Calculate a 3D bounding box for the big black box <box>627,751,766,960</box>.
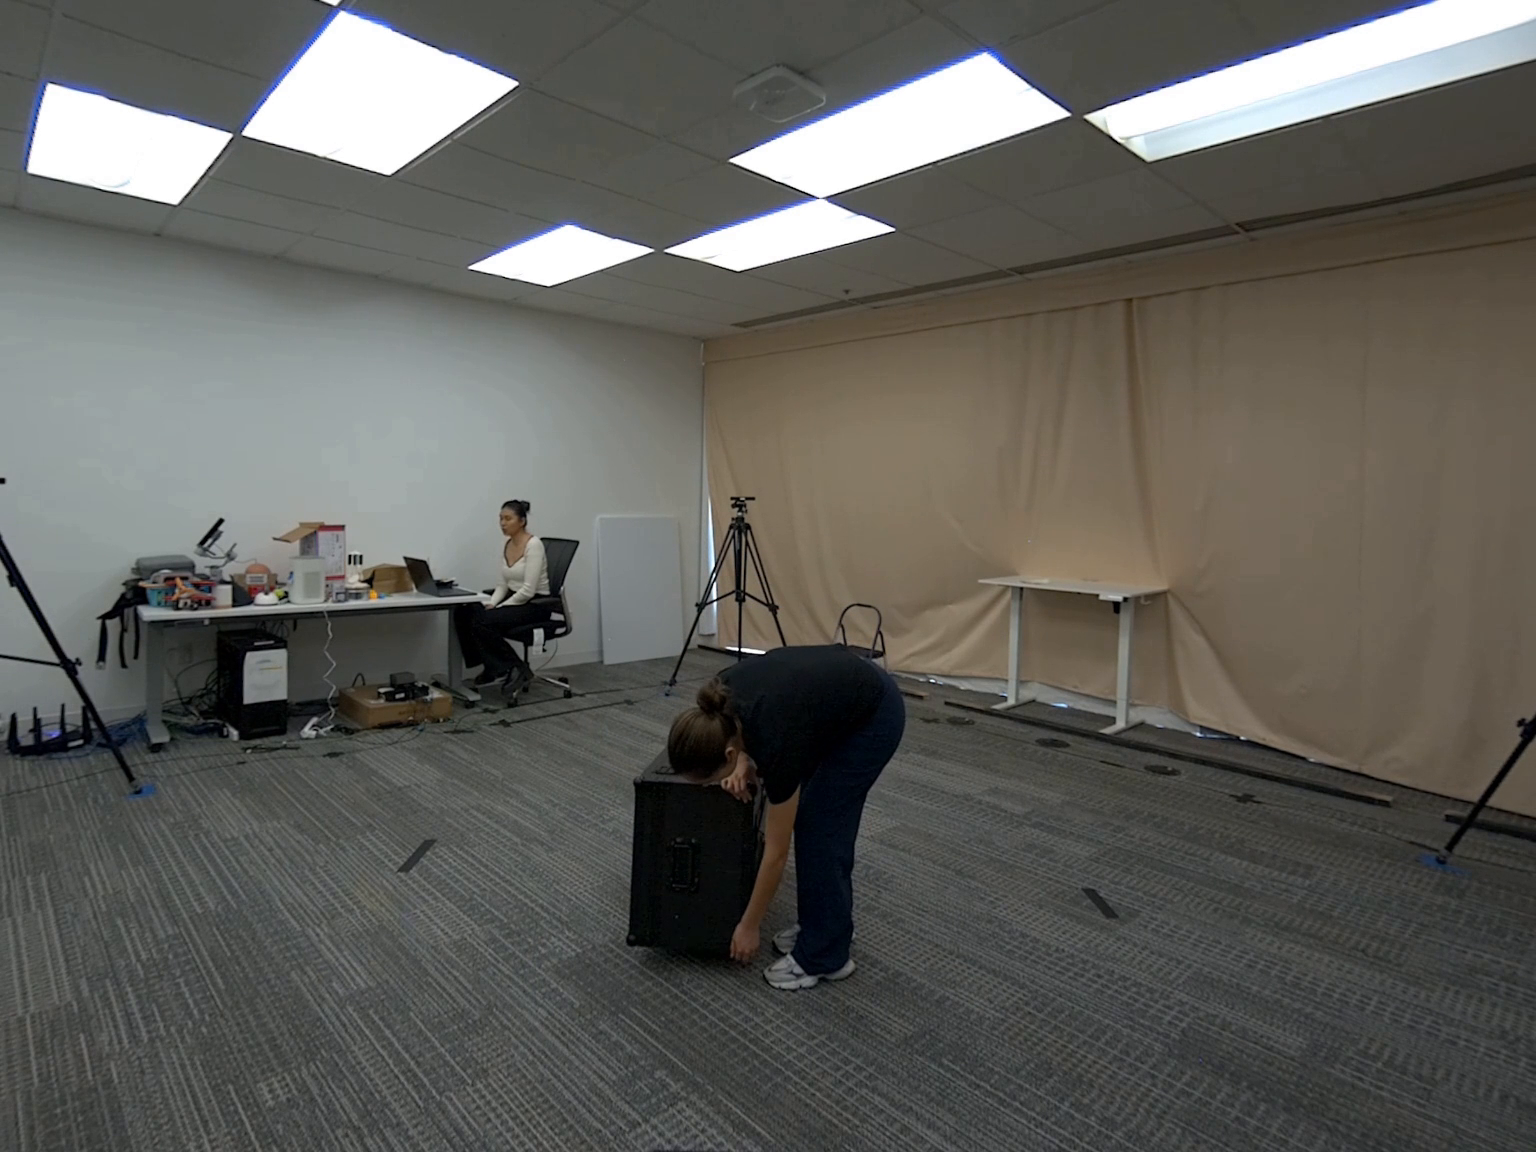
[{"bbox_3d":[-0.195,0.844,2.859,0.398,0.521,0.857,2,0,4],"label":"big black box"}]
